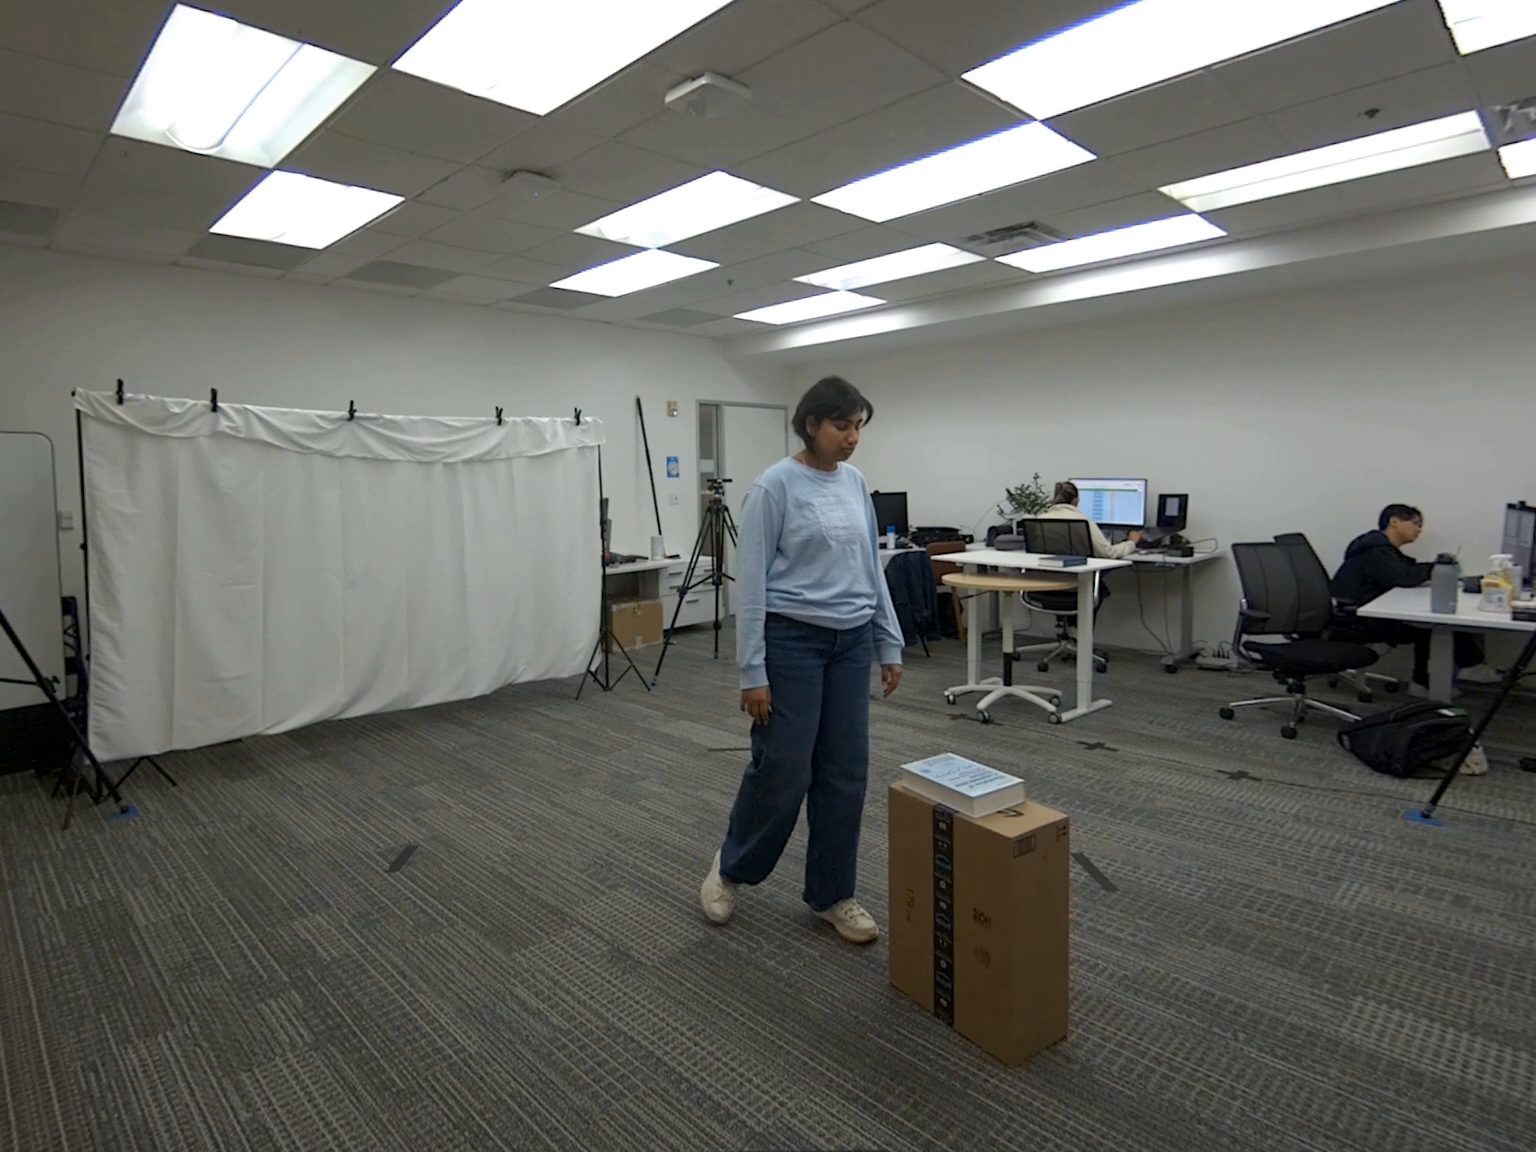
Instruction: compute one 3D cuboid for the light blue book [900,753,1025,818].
[{"bbox_3d":[0.501,0.543,2.236,0.187,0.059,0.268,-7,8,-31],"label":"light blue book"}]
